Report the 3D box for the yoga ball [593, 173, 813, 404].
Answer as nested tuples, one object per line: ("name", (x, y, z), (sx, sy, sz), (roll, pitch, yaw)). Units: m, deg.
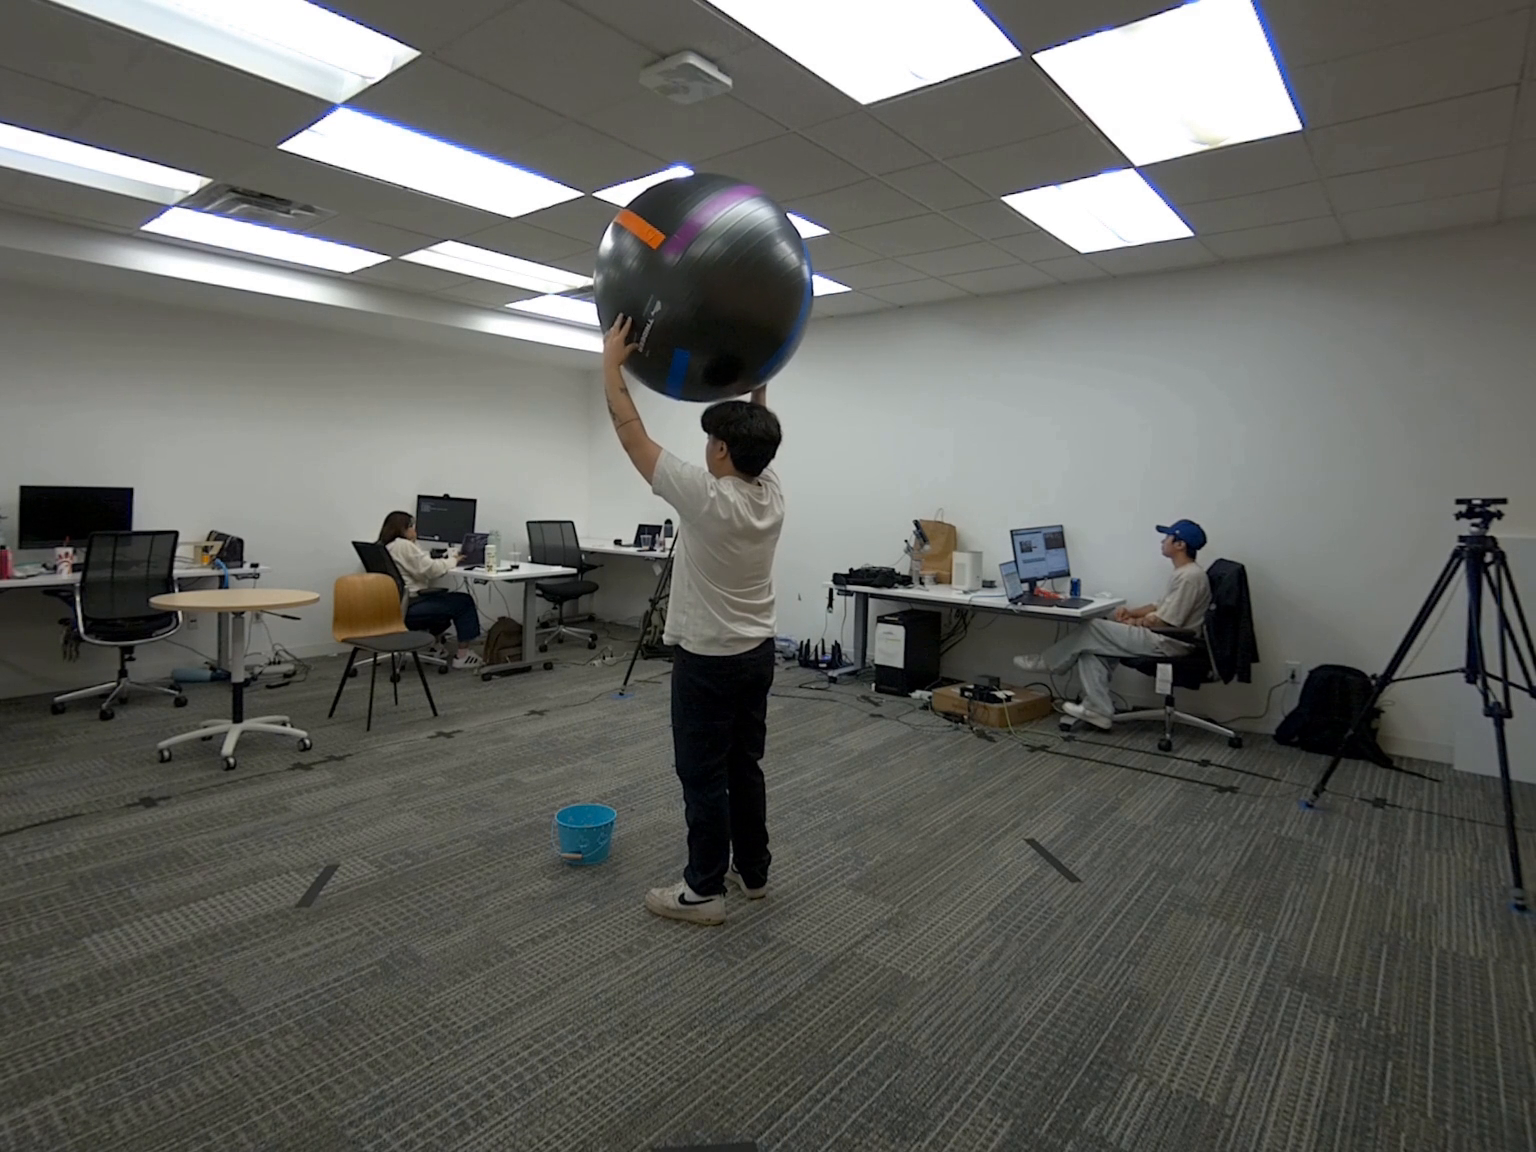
("yoga ball", (-0.232, -0.976, 2.922), (0.757, 0.755, 0.762), (1, 4, -2))
